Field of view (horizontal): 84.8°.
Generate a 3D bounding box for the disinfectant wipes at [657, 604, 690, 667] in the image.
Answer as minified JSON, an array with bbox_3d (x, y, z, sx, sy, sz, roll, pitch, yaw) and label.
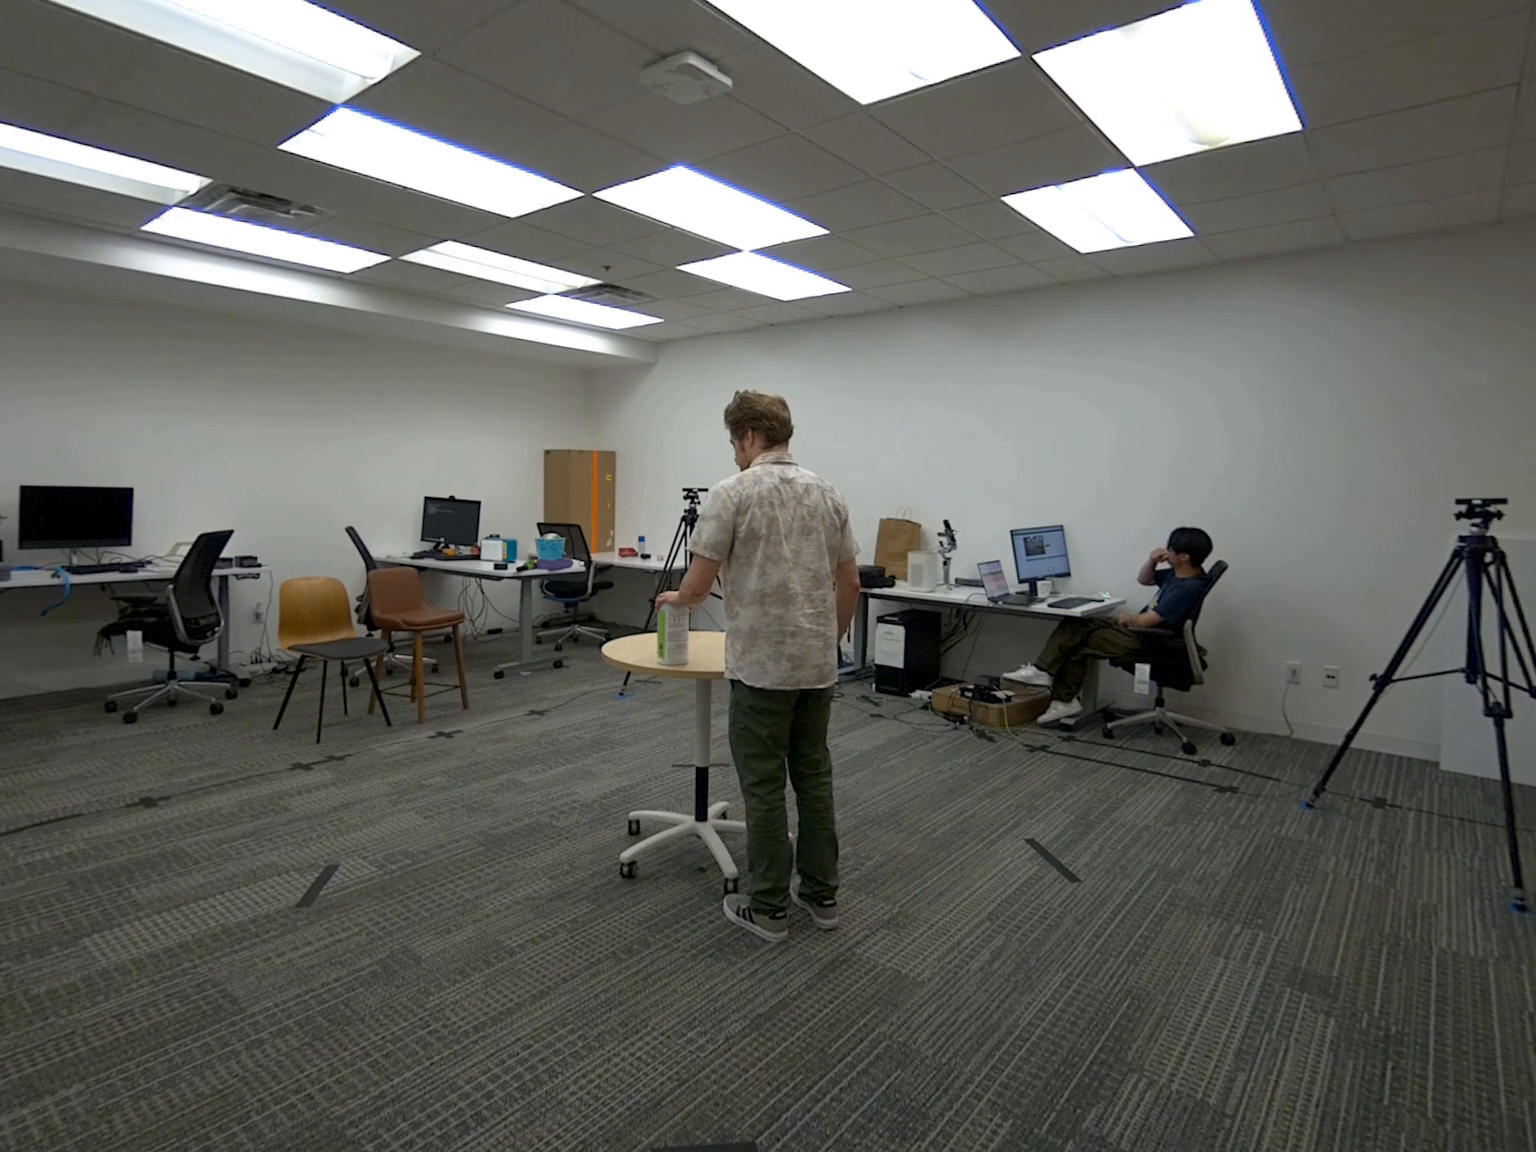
[{"bbox_3d":[-0.337,0.194,2.924,0.118,0.217,0.118,0,4,-2],"label":"disinfectant wipes"}]
